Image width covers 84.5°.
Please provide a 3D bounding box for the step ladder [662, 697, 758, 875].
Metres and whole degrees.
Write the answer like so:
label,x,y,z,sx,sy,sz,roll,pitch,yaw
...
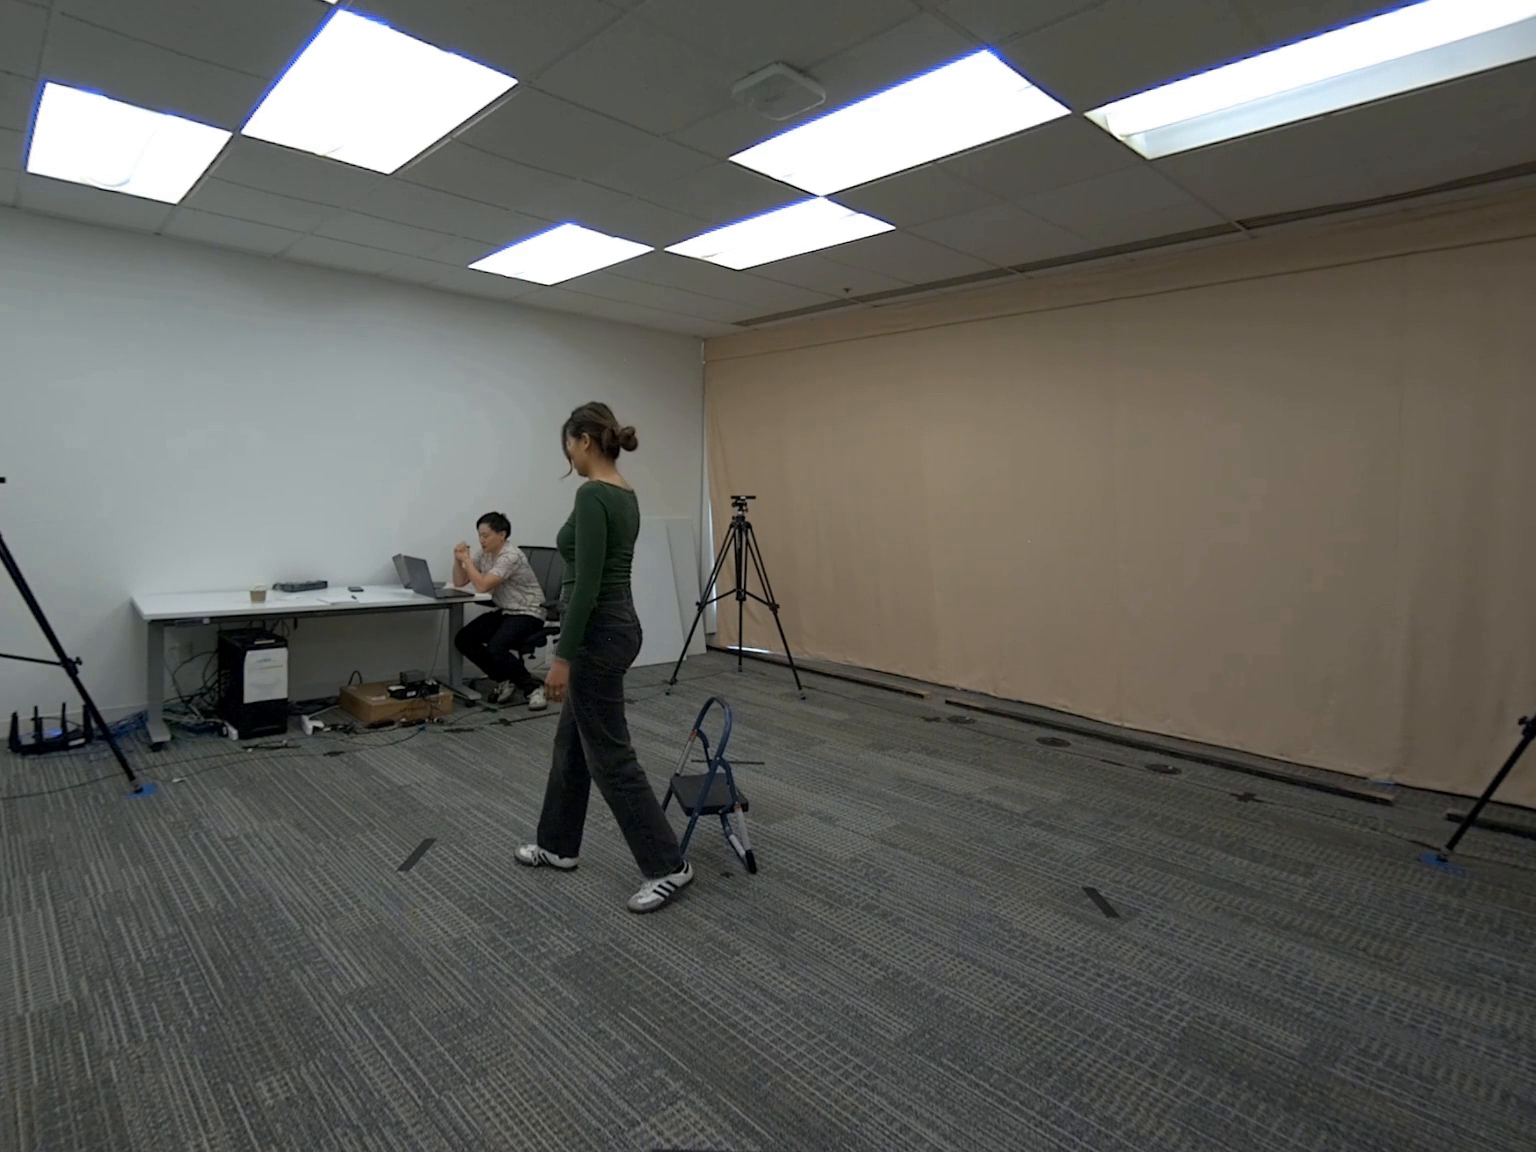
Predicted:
label,x,y,z,sx,sy,sz,roll,pitch,yaw
step ladder,-0.265,0.781,3.250,0.345,0.604,0.437,0,4,-17
